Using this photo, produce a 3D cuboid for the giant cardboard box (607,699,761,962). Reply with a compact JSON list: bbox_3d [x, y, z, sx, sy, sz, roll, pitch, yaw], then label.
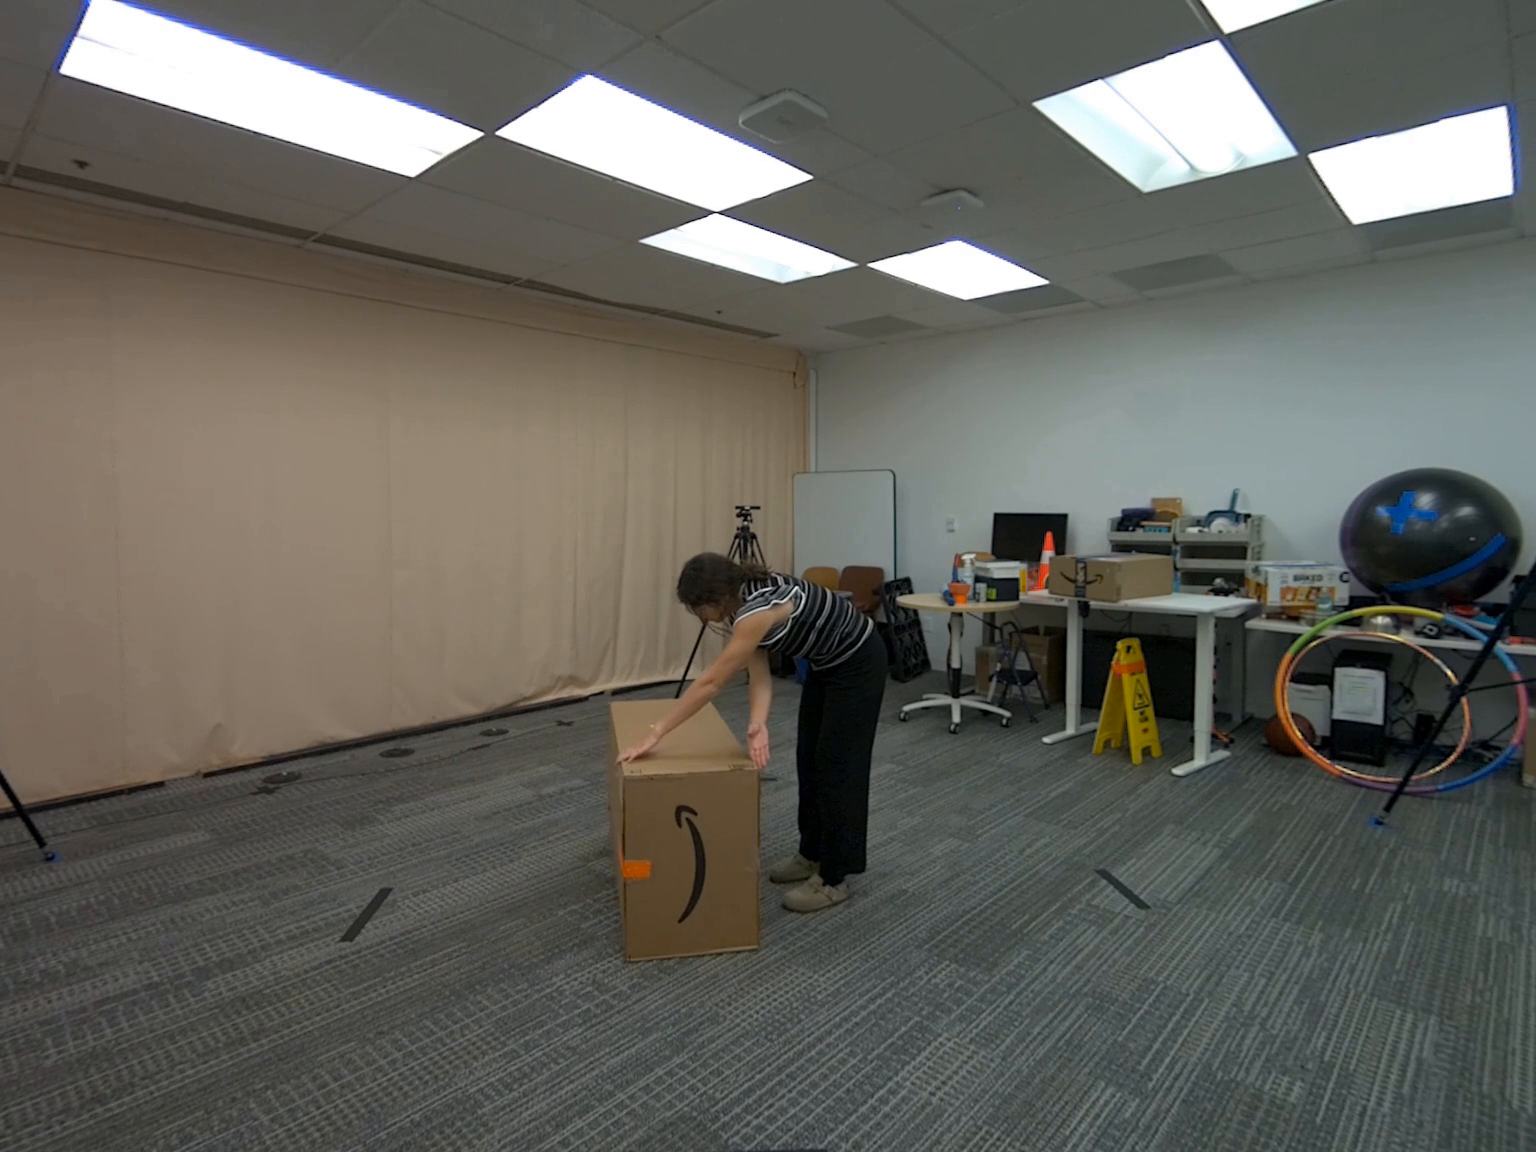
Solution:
[{"bbox_3d":[-0.354,0.841,3.097,0.421,0.576,1.041,-1,4,-13],"label":"giant cardboard box"}]
